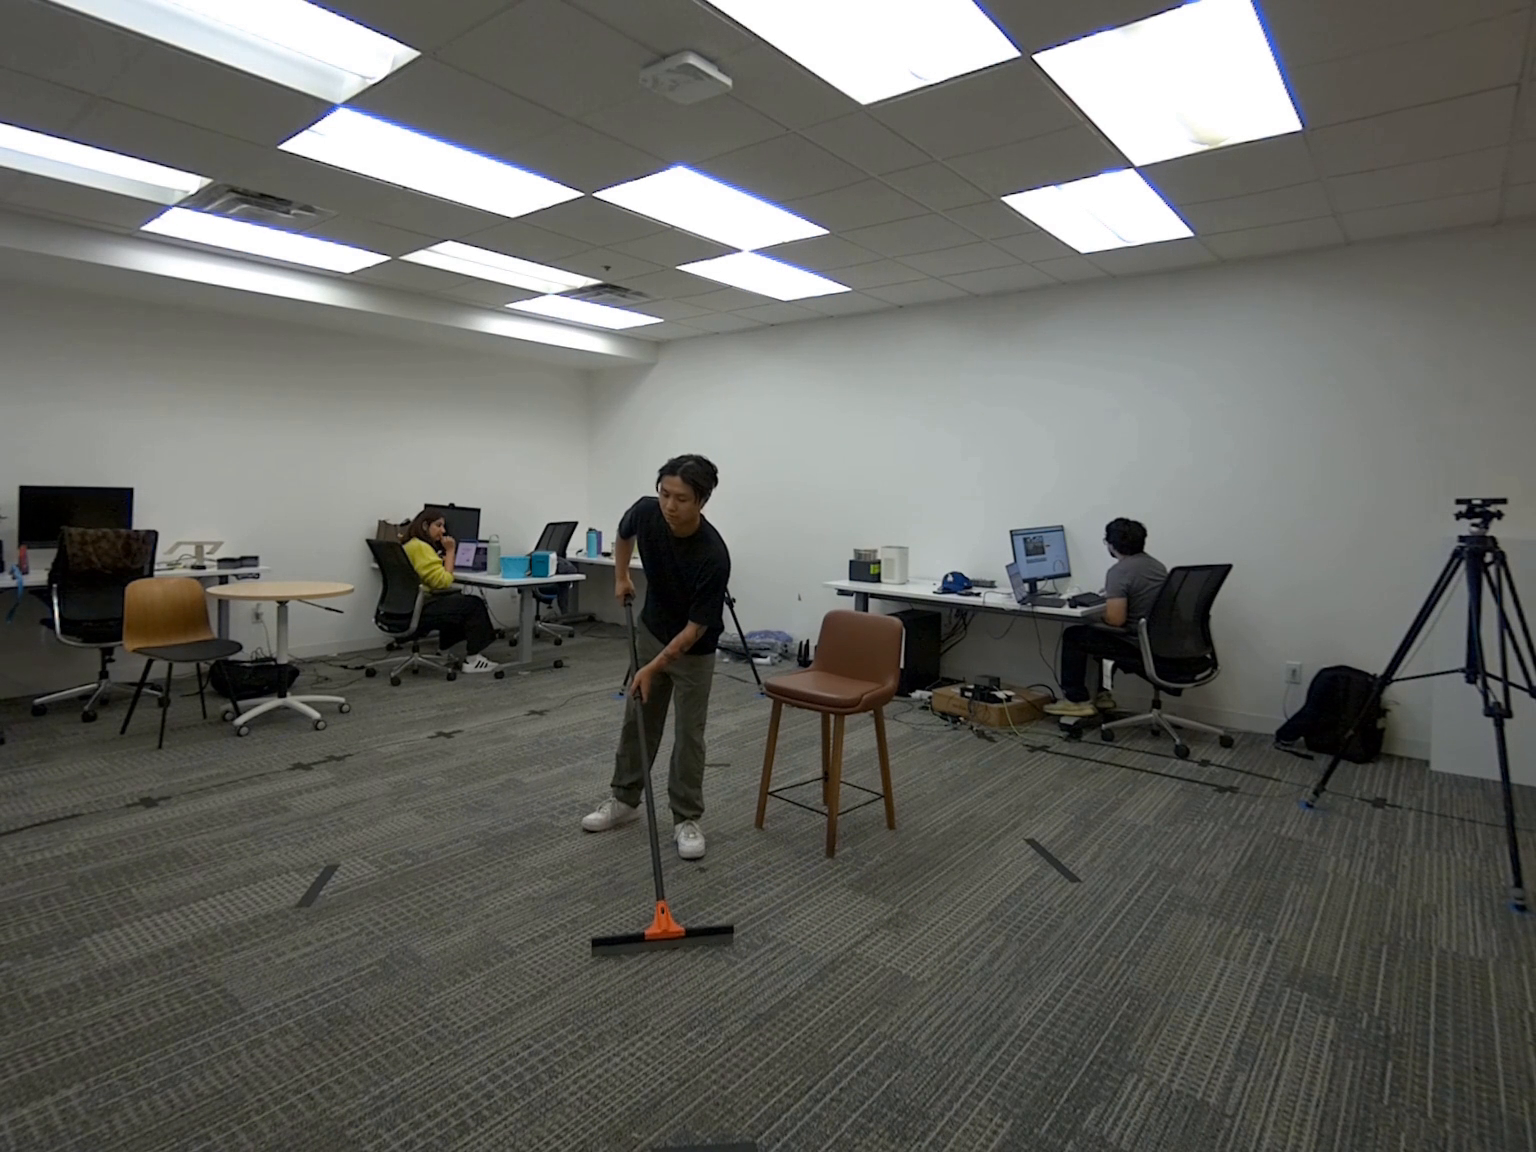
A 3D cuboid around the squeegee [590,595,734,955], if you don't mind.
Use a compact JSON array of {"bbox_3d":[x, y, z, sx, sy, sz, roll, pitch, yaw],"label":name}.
[{"bbox_3d":[-0.455,0.542,3.071,0.431,0.052,1.594,-3,46,-14],"label":"squeegee"}]
